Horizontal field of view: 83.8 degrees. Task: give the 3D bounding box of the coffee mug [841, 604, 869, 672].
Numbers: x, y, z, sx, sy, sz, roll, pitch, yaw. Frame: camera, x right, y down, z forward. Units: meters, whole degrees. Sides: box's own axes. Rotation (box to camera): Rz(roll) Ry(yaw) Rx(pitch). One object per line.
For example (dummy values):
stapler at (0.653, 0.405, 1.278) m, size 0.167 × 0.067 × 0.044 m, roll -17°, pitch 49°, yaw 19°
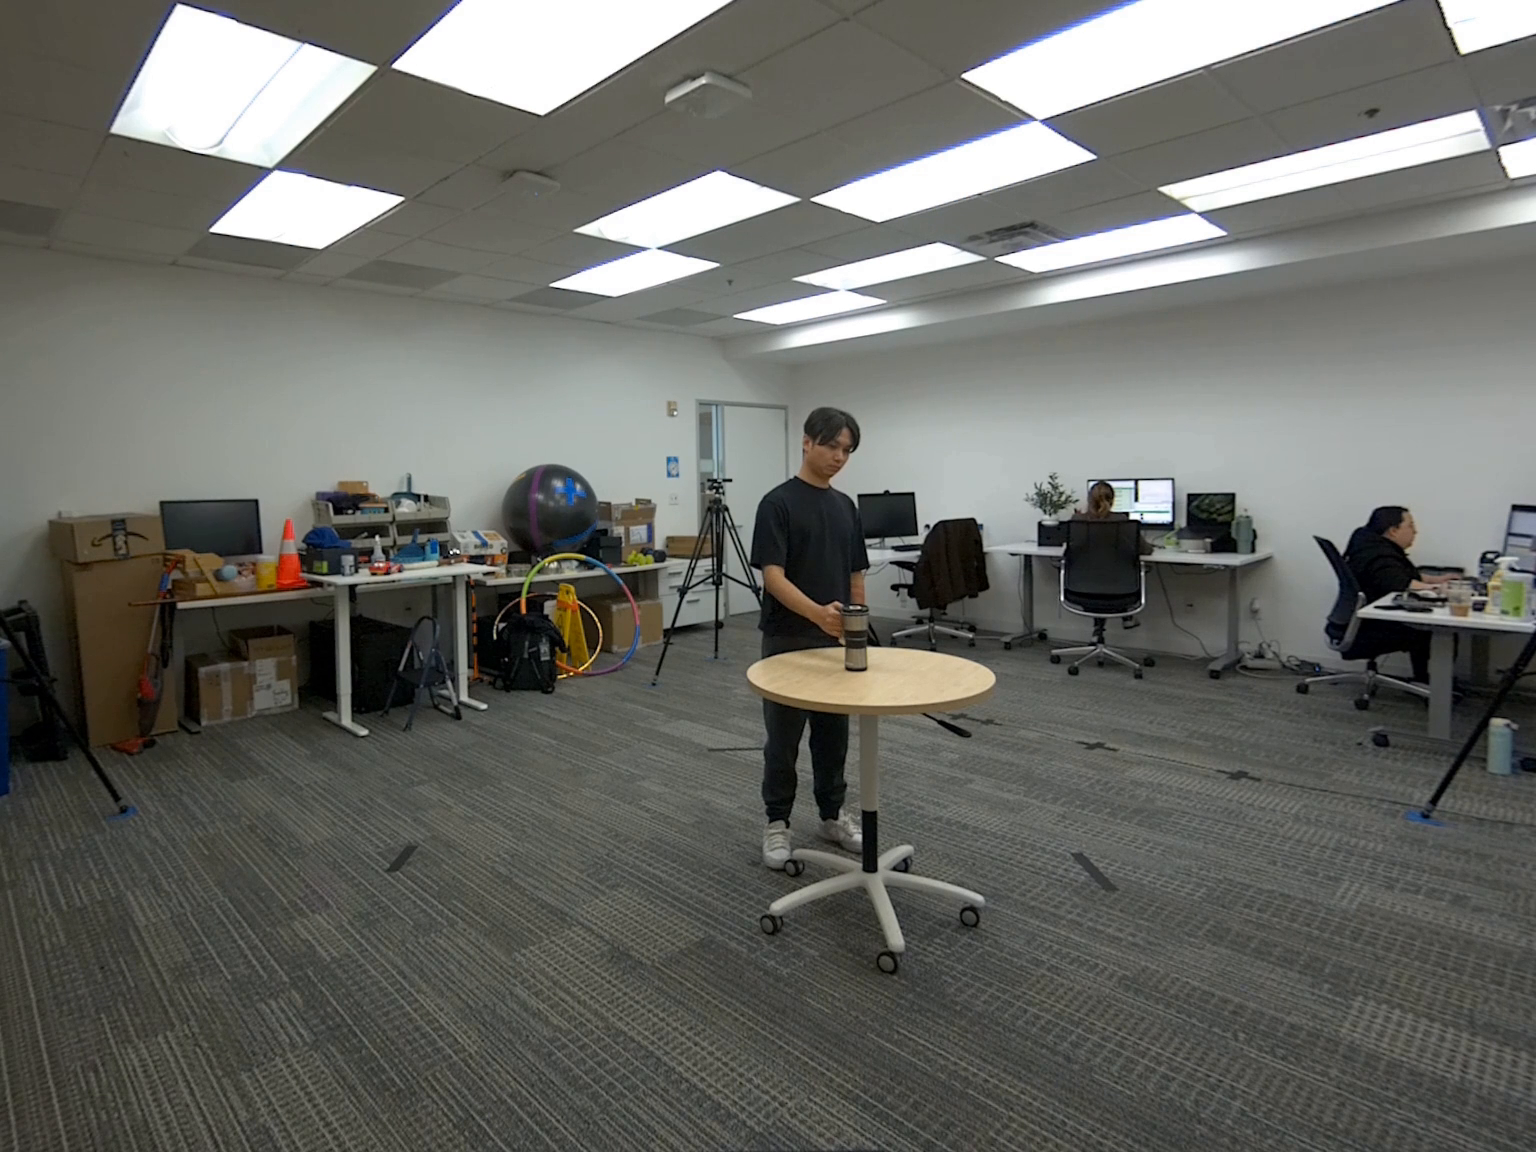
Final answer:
coffee mug at (0.269, 0.201, 2.749) m, size 0.086 × 0.202 × 0.125 m, roll -6°, pitch 7°, yaw -29°
